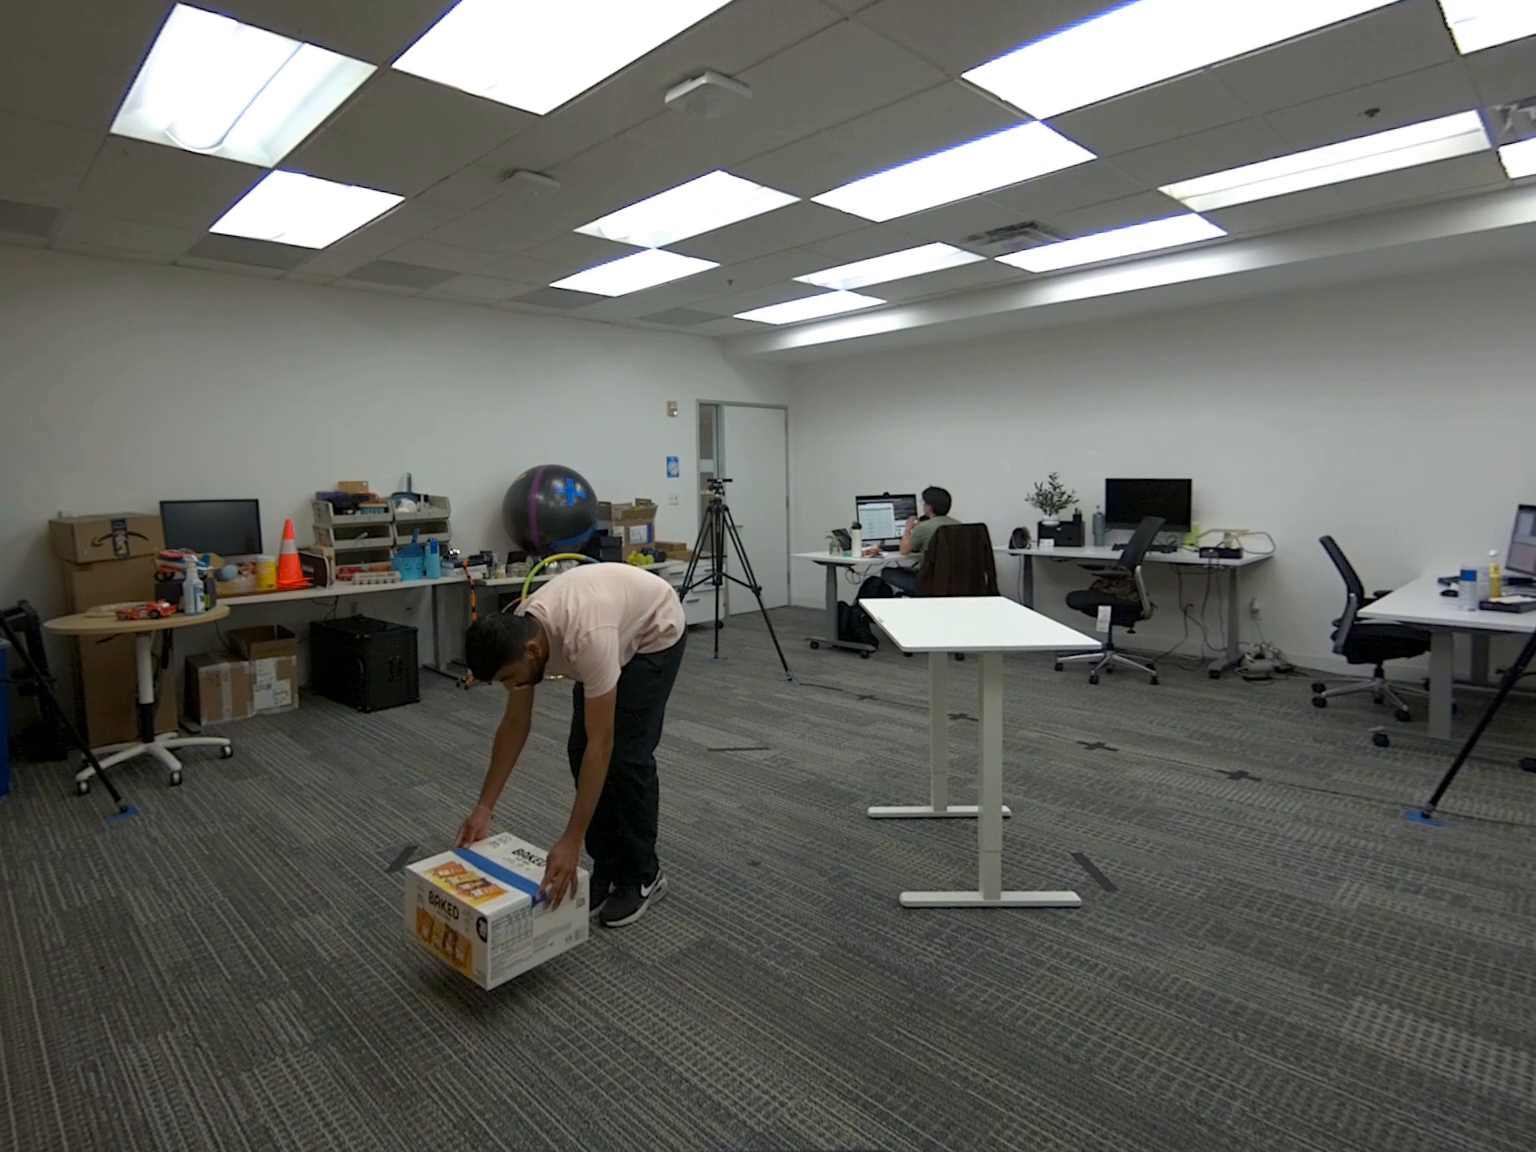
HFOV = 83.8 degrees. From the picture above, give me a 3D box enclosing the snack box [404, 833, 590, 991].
[{"bbox_3d":[-0.767,0.930,2.427,0.418,0.205,0.331,6,7,39],"label":"snack box"}]
